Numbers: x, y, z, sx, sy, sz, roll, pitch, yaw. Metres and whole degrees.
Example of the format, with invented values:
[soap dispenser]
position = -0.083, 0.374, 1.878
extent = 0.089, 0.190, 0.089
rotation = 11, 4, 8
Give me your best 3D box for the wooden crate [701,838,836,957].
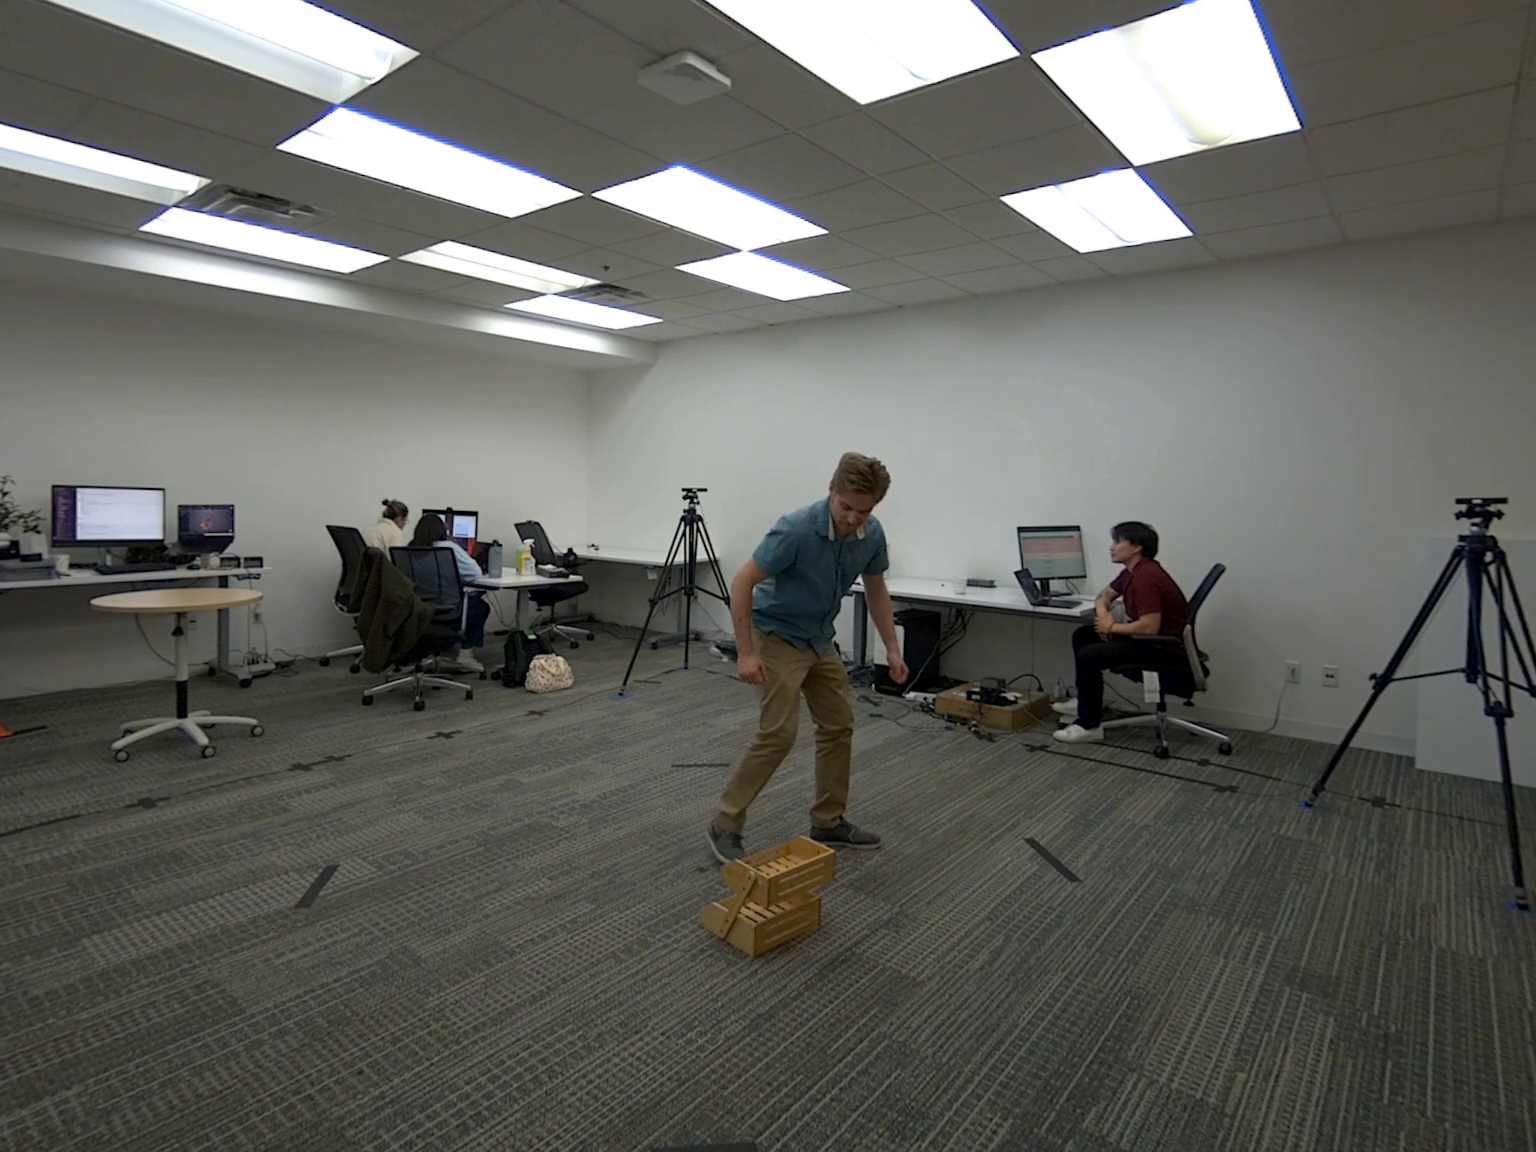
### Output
[wooden crate]
position = -0.010, 0.980, 2.692
extent = 0.314, 0.272, 0.312
rotation = -2, 6, -44
